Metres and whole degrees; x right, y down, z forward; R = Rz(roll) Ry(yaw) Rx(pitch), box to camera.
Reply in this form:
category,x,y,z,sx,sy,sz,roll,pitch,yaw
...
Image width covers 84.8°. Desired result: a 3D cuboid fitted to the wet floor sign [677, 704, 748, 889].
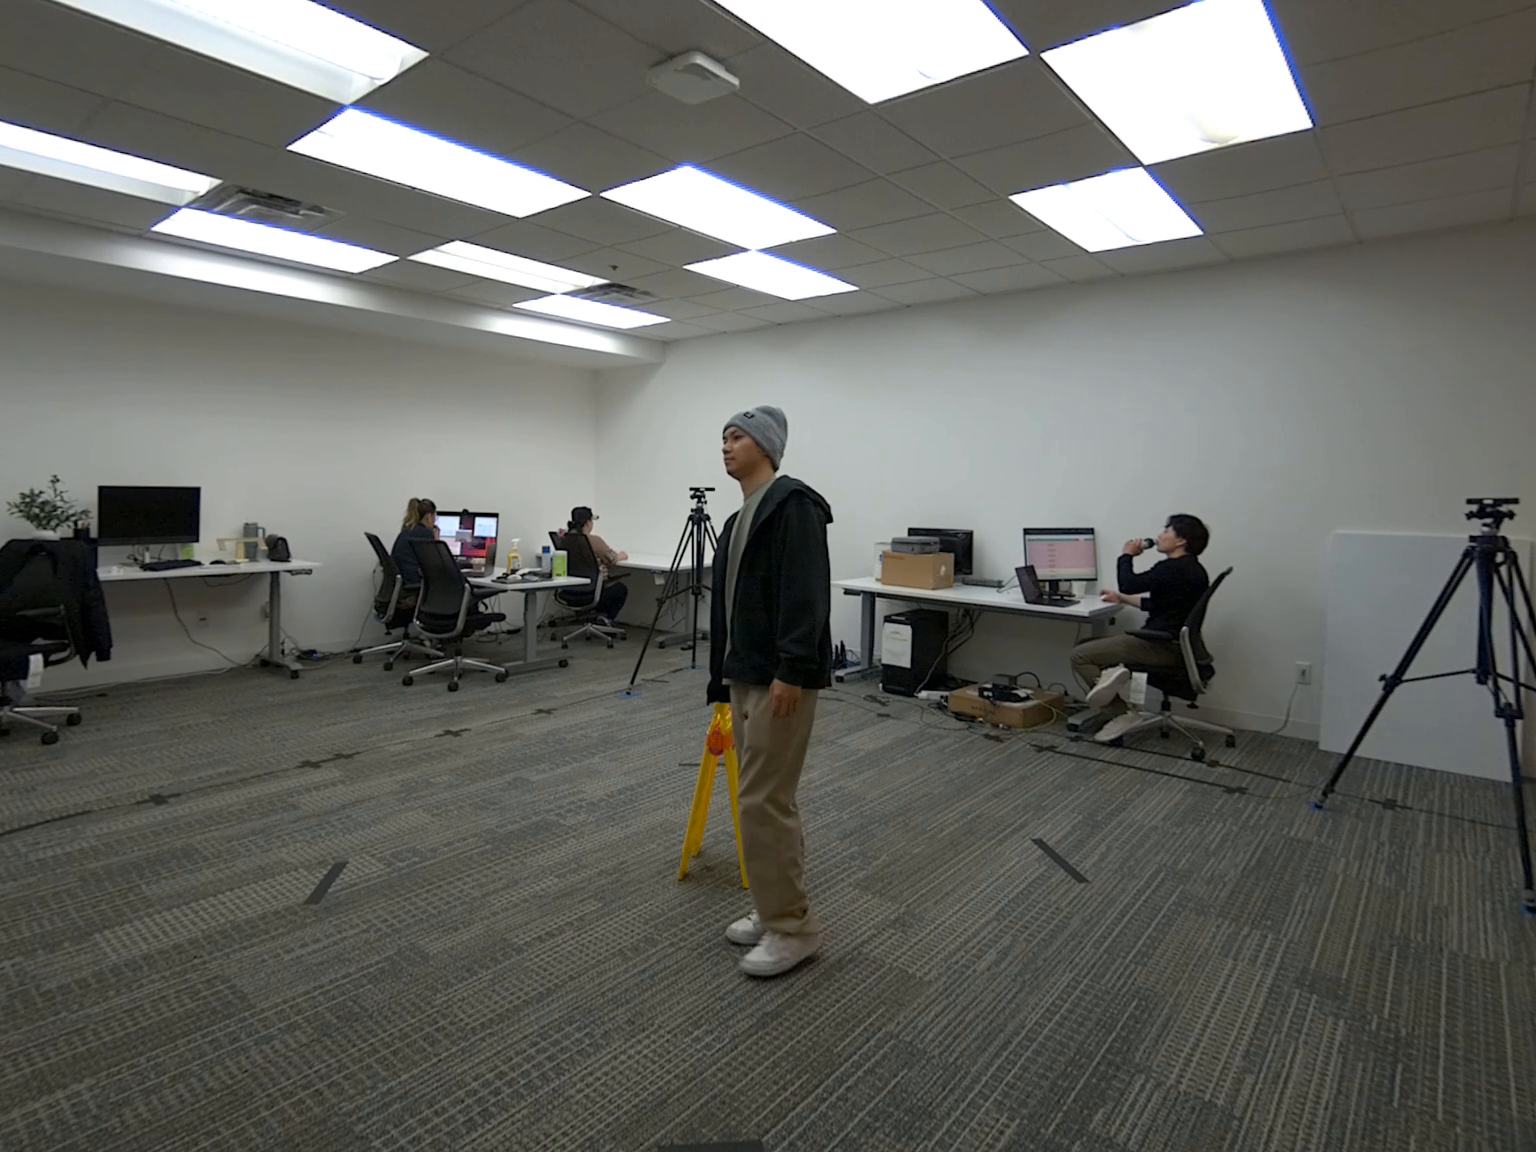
category,x,y,z,sx,sy,sz,roll,pitch,yaw
wet floor sign,-0.168,0.746,3.089,0.294,0.644,0.280,2,4,11
